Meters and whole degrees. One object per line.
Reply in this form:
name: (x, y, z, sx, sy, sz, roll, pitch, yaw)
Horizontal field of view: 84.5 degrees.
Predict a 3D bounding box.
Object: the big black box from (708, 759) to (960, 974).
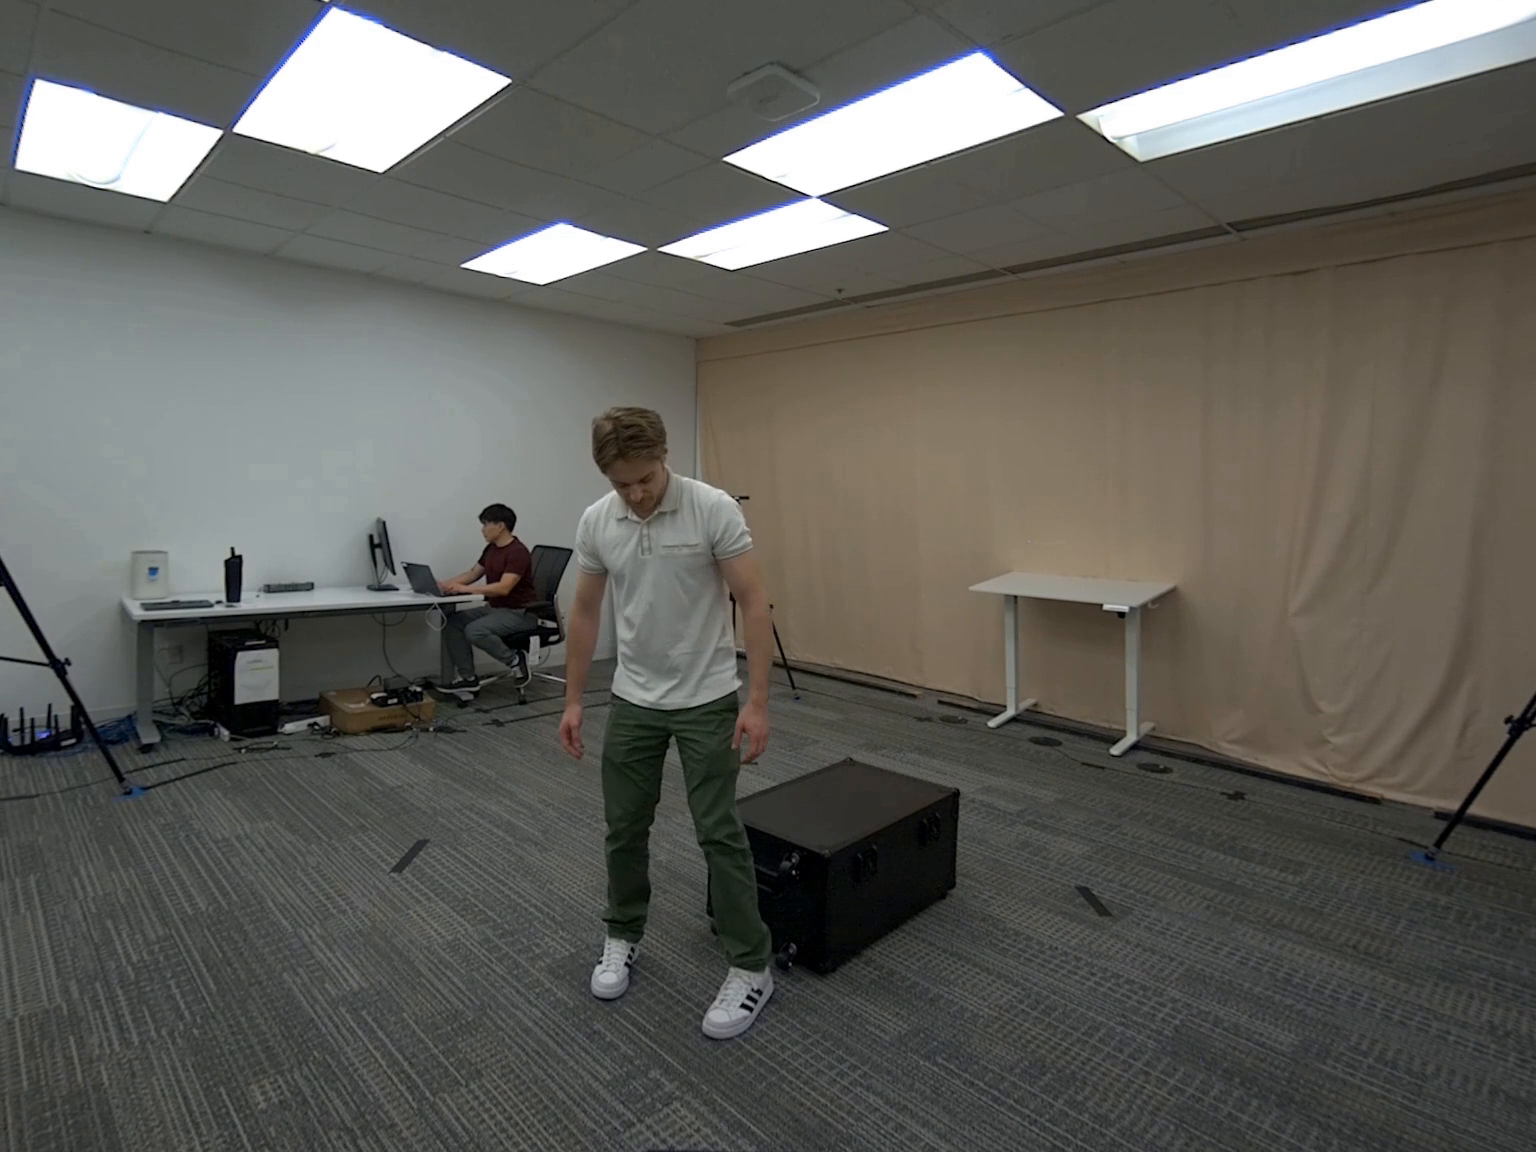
big black box: (0.204, 0.940, 2.841, 0.537, 0.384, 0.849, 7, 8, 41)
